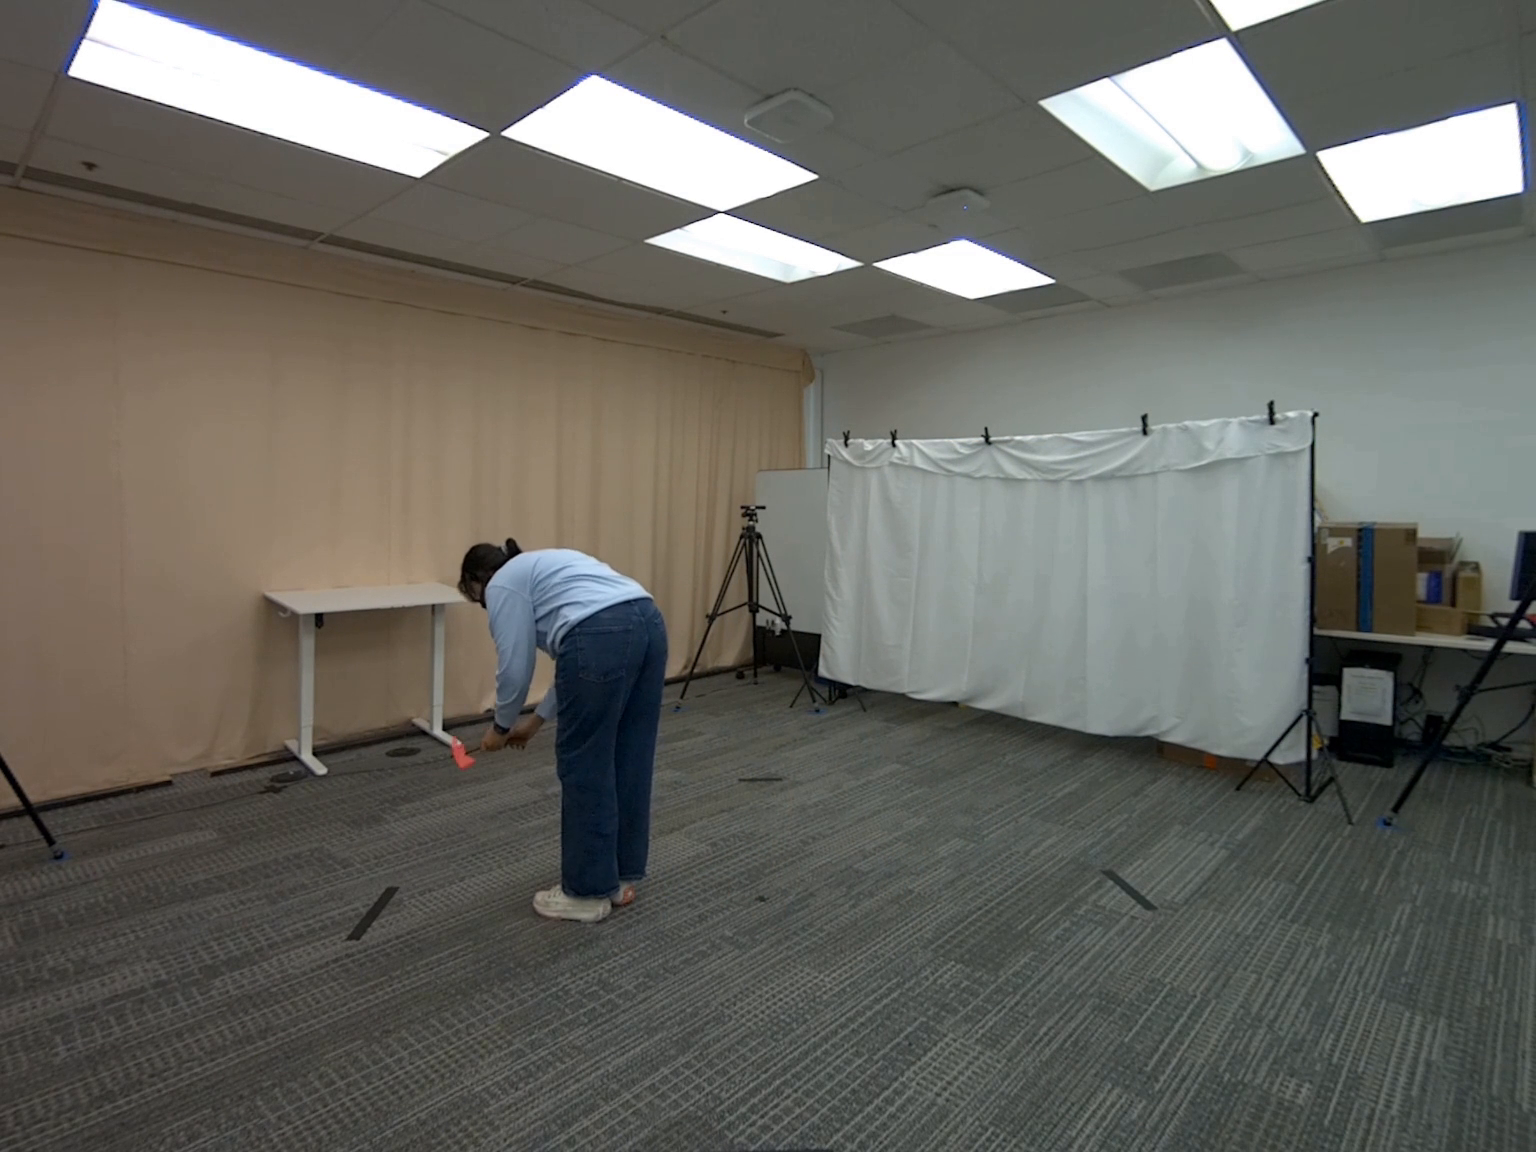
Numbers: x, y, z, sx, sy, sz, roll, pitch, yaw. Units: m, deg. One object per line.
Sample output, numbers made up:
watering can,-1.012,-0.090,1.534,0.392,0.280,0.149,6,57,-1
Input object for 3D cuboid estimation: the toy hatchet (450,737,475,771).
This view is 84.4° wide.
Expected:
toy hatchet,-1.011,0.638,3.049,0.267,0.029,0.134,0,47,-9
